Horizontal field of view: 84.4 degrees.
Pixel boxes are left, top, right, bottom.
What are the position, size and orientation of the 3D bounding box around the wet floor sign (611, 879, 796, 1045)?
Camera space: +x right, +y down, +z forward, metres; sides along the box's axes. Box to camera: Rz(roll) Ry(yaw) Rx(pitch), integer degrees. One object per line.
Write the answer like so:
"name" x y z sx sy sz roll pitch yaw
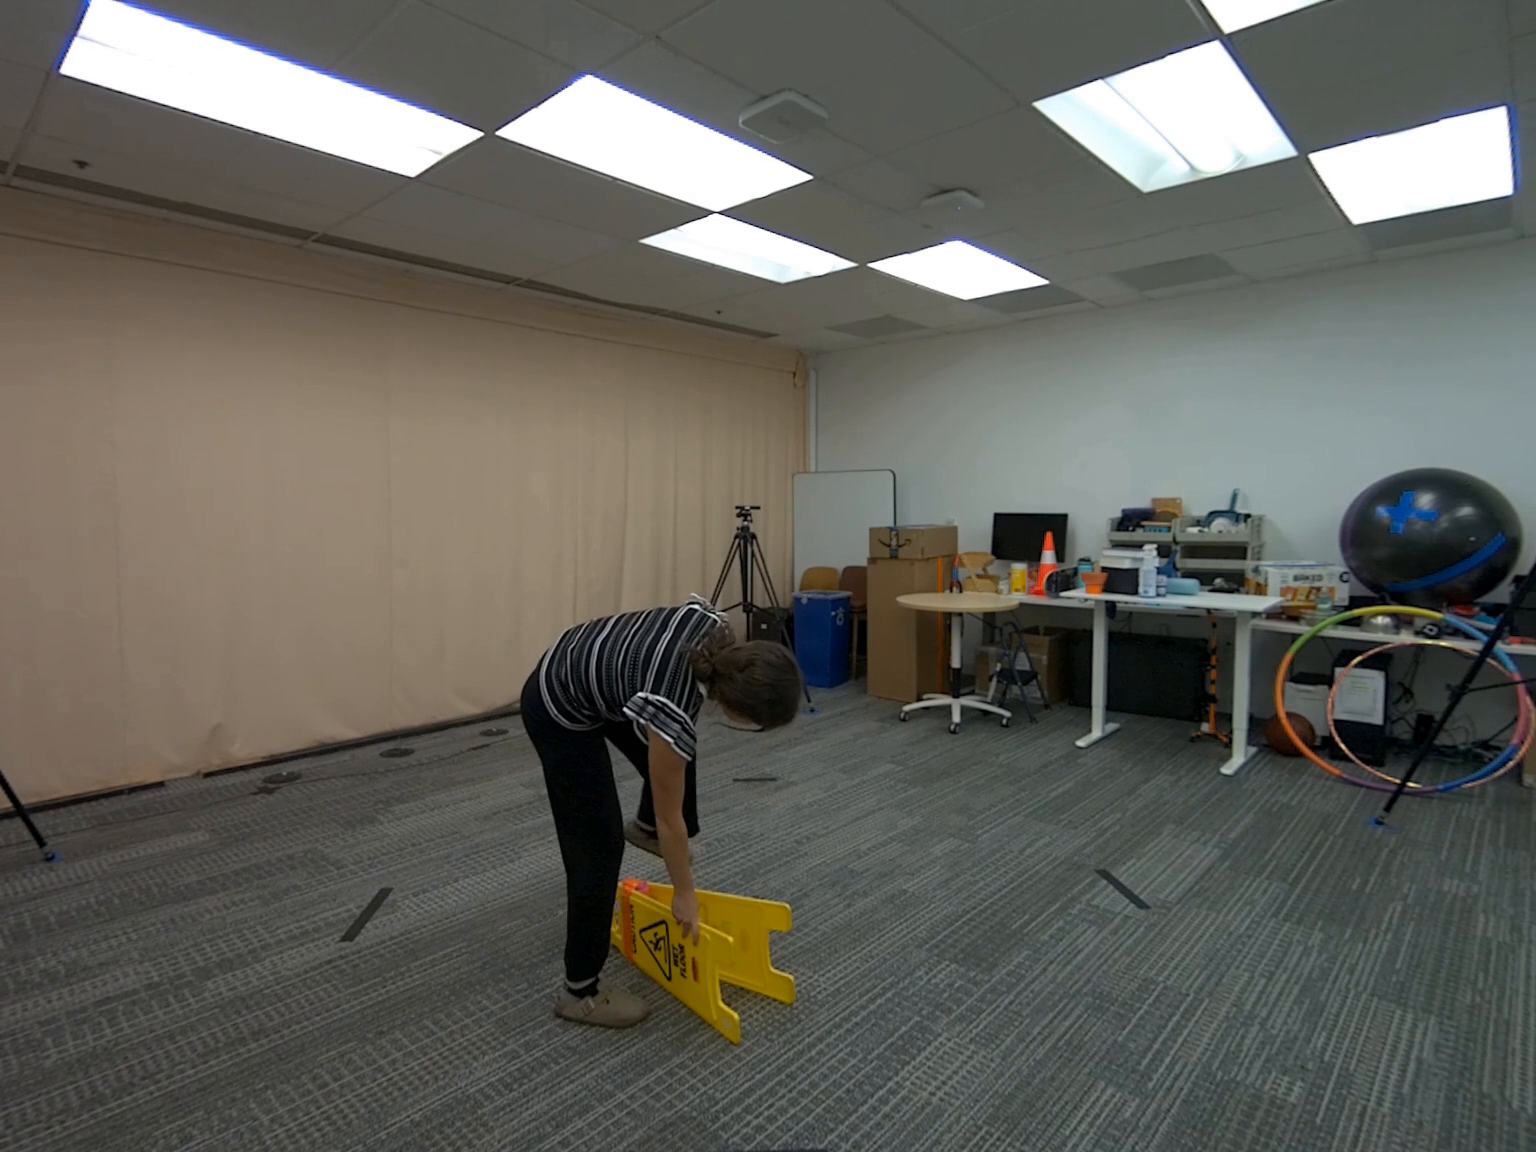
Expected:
"wet floor sign" -0.262 1.066 2.468 0.667 0.282 0.281 0 3 40
